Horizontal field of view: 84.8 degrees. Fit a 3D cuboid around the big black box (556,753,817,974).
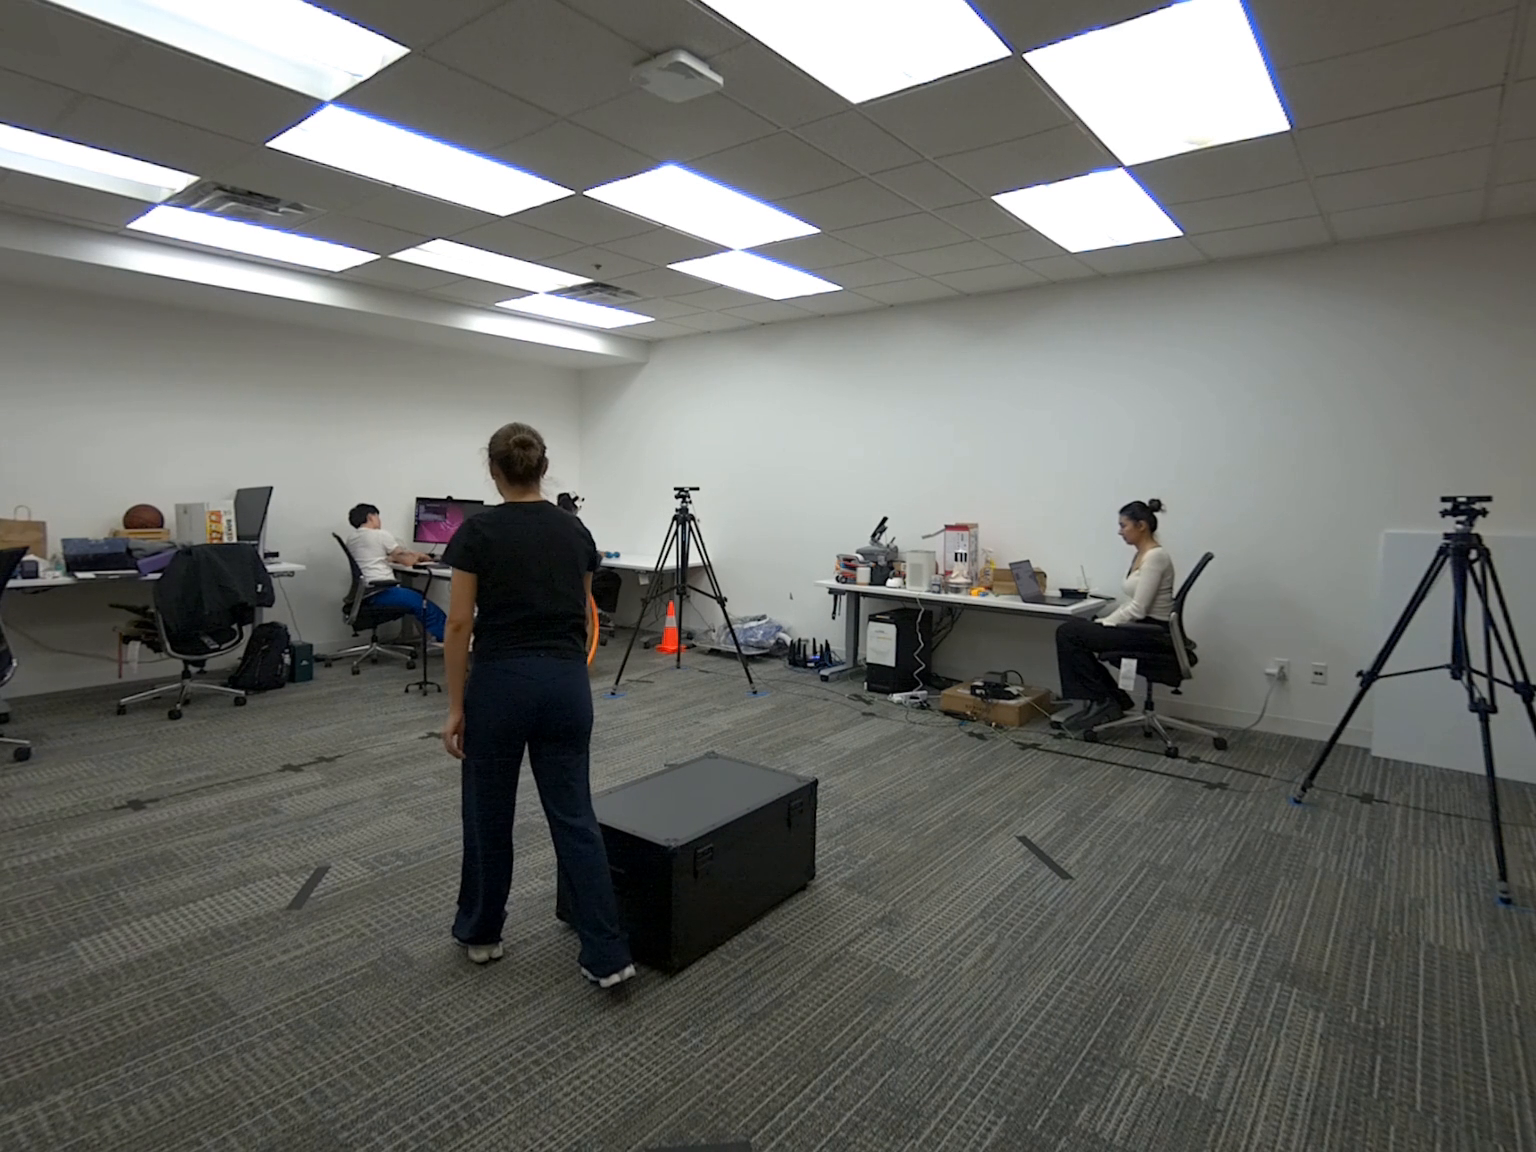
[{"bbox_3d":[-0.211,0.899,2.868,0.538,0.394,0.838,5,7,36],"label":"big black box"}]
